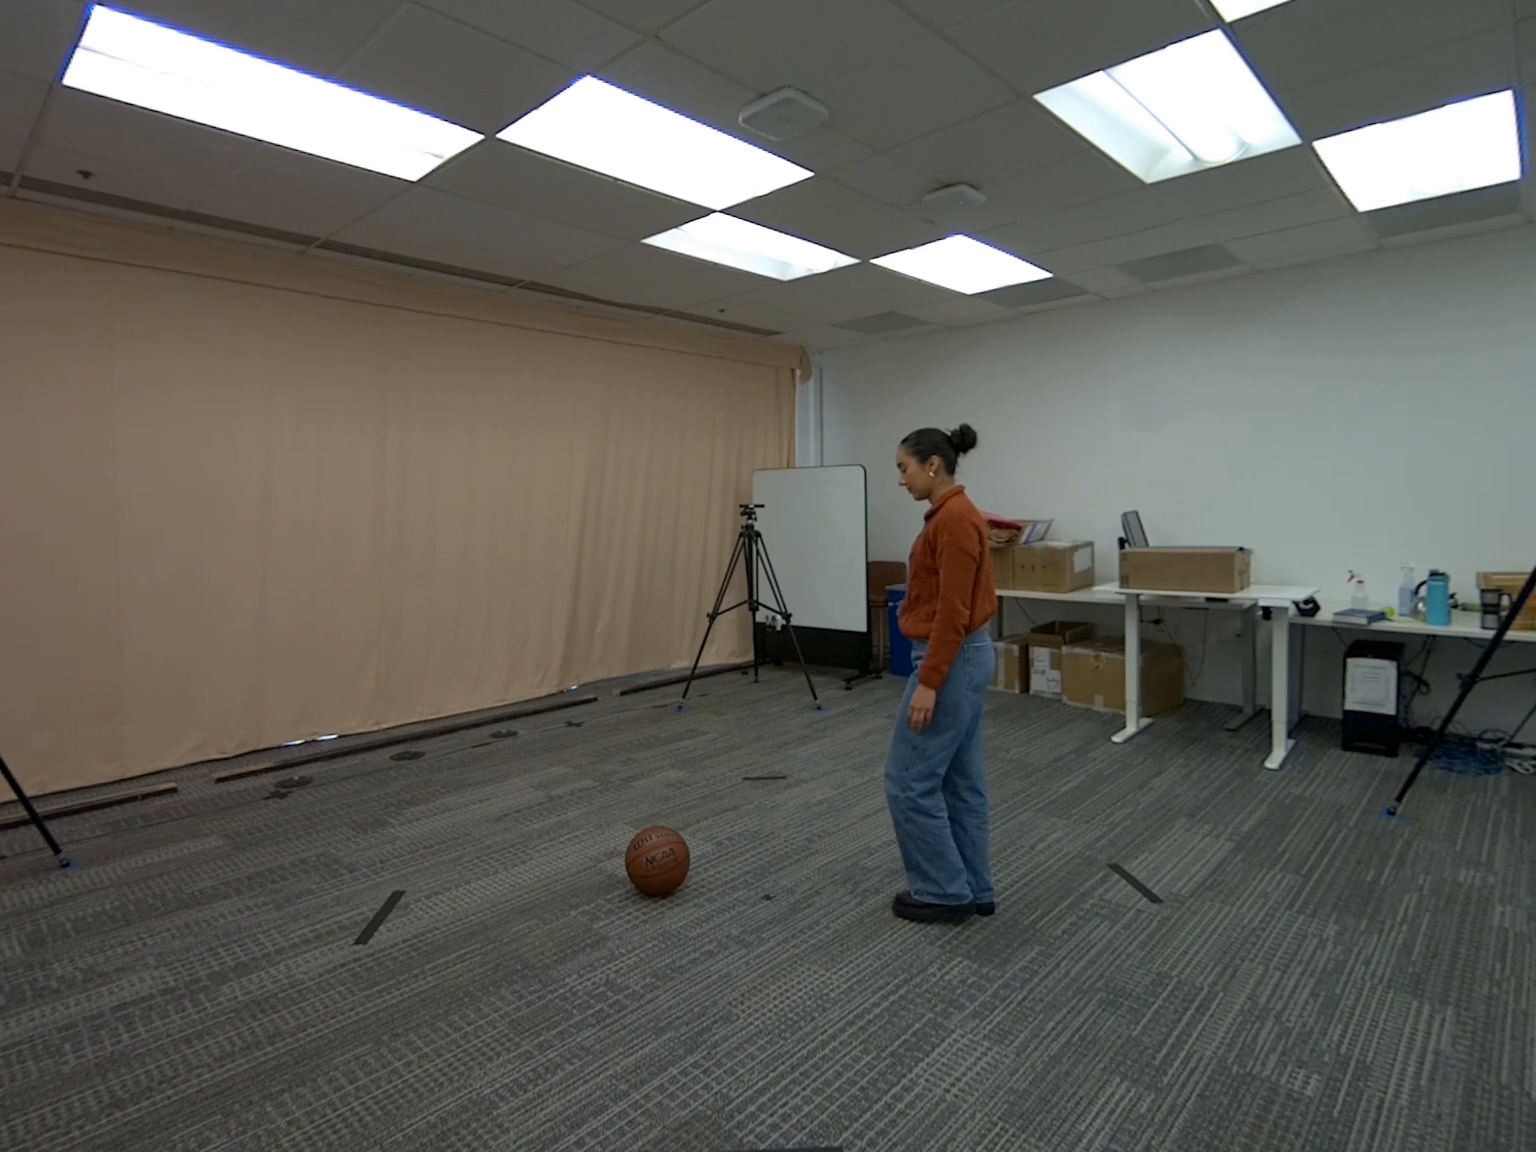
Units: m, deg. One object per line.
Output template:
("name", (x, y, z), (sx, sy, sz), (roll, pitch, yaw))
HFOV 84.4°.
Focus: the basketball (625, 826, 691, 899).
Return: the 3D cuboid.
("basketball", (-0.392, 1.020, 3.036), (0.236, 0.235, 0.237), (-1, 4, -2))
